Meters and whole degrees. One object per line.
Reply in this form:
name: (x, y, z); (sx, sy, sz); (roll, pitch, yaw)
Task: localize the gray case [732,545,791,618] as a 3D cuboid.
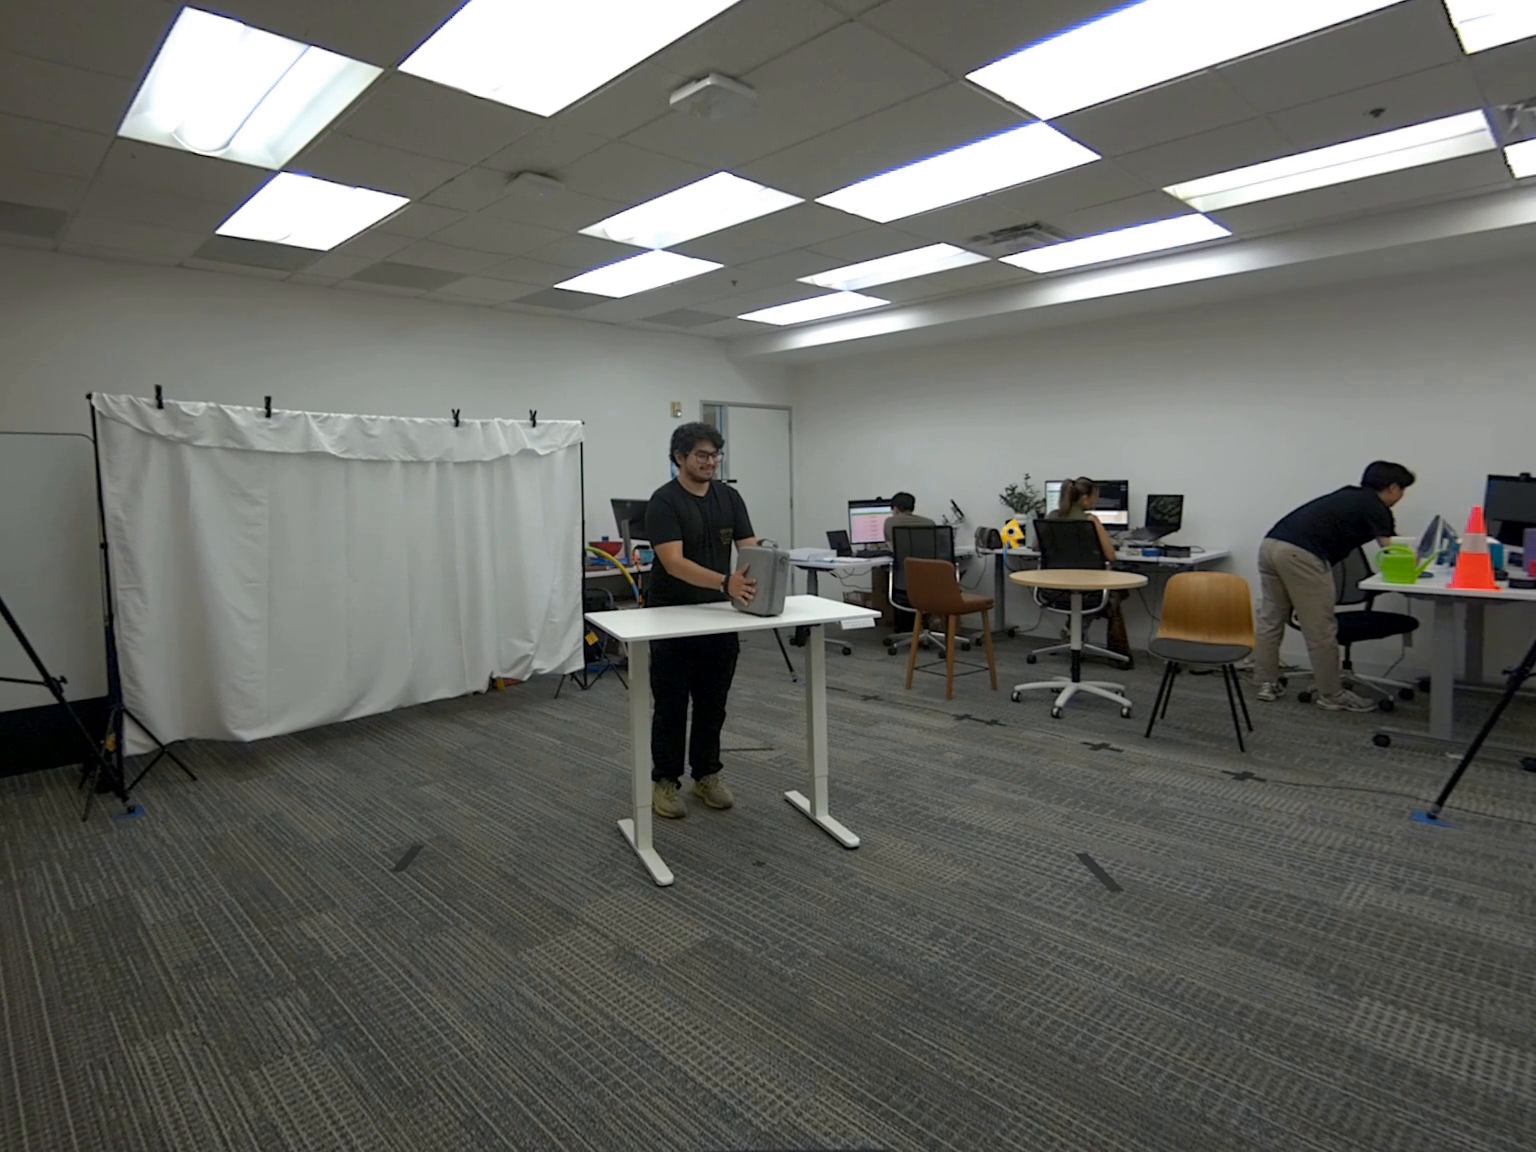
gray case: (-0.028, 0.012, 3.283); (0.101, 0.261, 0.263); (8, -2, -29)
